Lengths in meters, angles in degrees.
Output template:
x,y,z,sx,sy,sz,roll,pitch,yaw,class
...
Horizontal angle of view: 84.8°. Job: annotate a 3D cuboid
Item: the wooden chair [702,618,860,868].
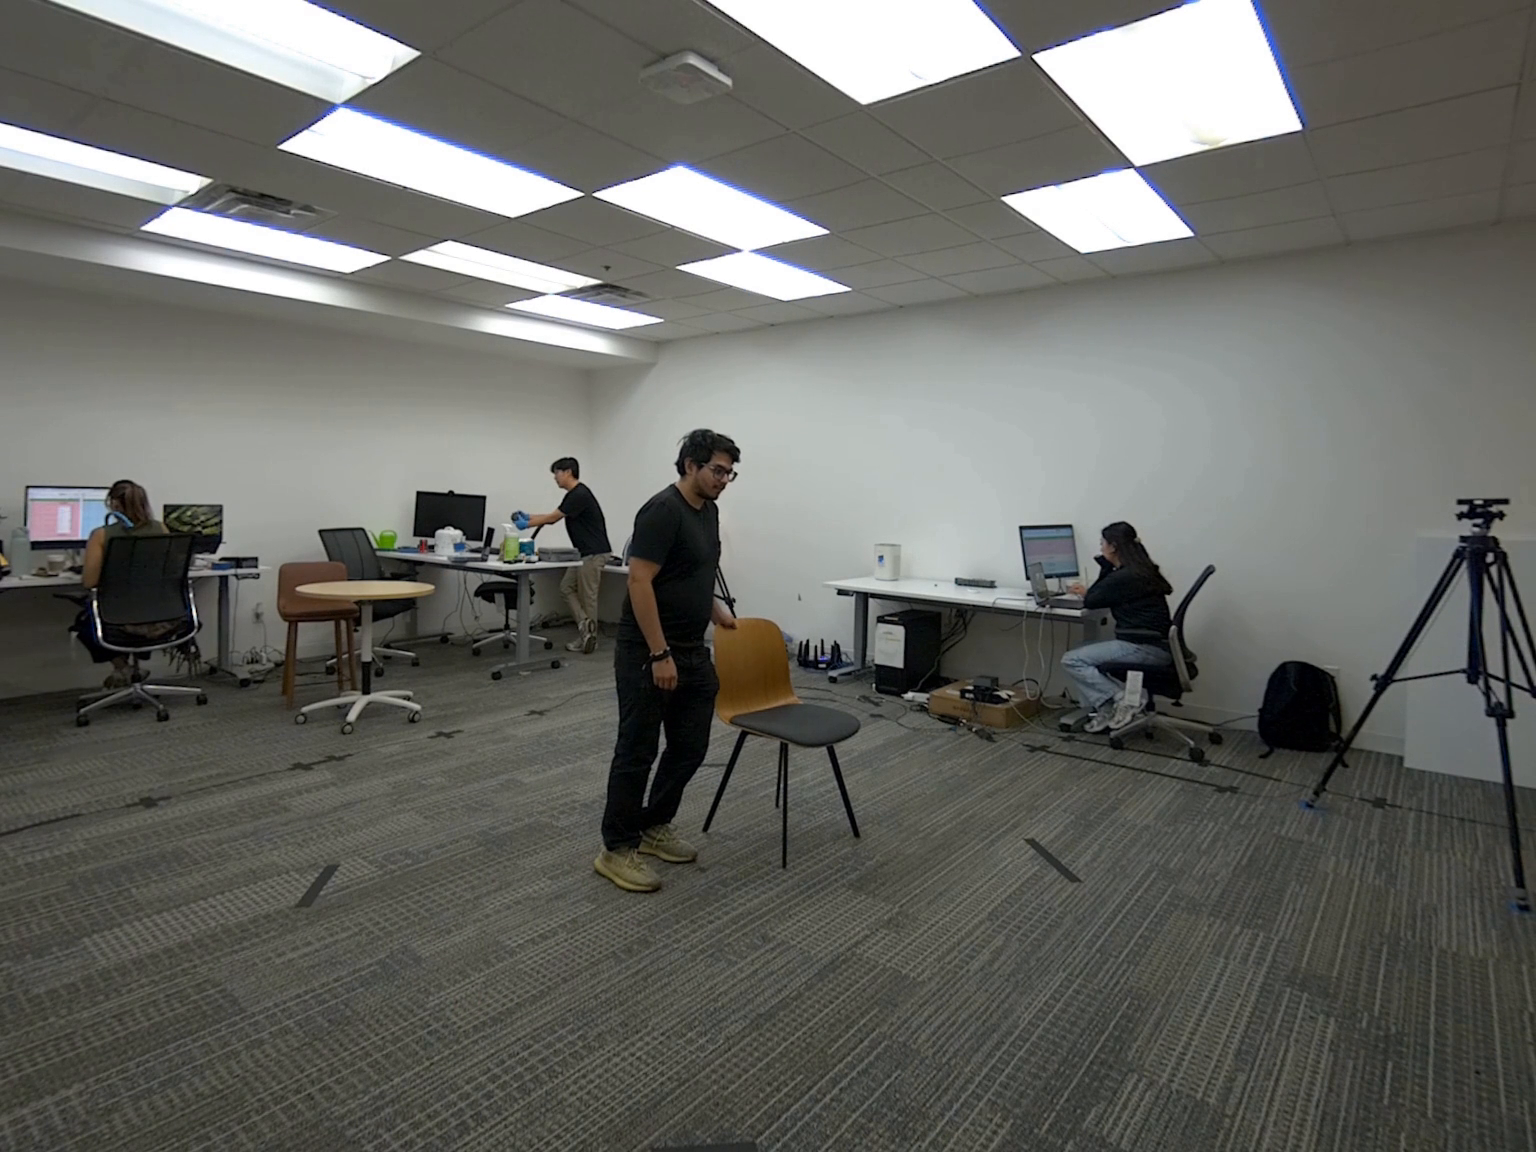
x,y,z,sx,sy,sz,roll,pitch,yaw,class
0.059,0.618,3.407,0.464,0.877,0.539,-3,1,-45,wooden chair
